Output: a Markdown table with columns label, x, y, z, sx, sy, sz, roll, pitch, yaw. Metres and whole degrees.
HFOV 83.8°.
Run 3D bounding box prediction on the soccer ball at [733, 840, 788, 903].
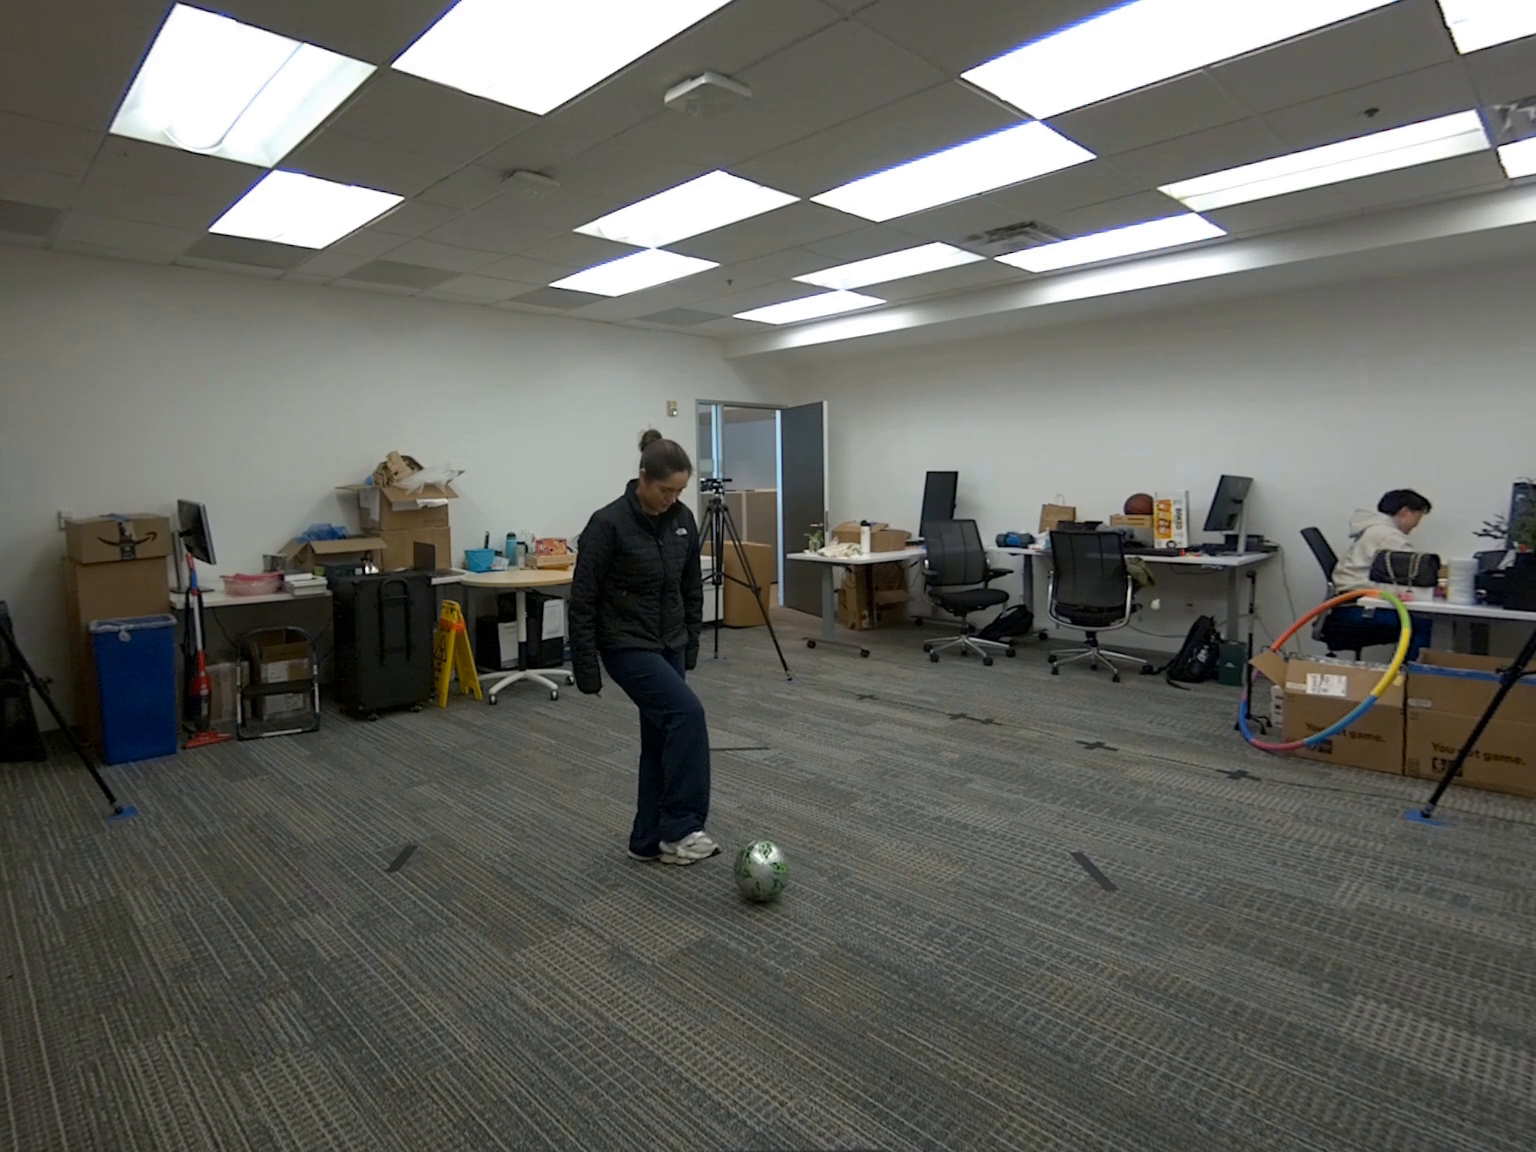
| label | x | y | z | sx | sy | sz | roll | pitch | yaw |
| --- | --- | --- | --- | --- | --- | --- | --- | --- | --- |
| soccer ball | -0.020 | 0.973 | 2.846 | 0.187 | 0.187 | 0.188 | -1 | 5 | -2 |
